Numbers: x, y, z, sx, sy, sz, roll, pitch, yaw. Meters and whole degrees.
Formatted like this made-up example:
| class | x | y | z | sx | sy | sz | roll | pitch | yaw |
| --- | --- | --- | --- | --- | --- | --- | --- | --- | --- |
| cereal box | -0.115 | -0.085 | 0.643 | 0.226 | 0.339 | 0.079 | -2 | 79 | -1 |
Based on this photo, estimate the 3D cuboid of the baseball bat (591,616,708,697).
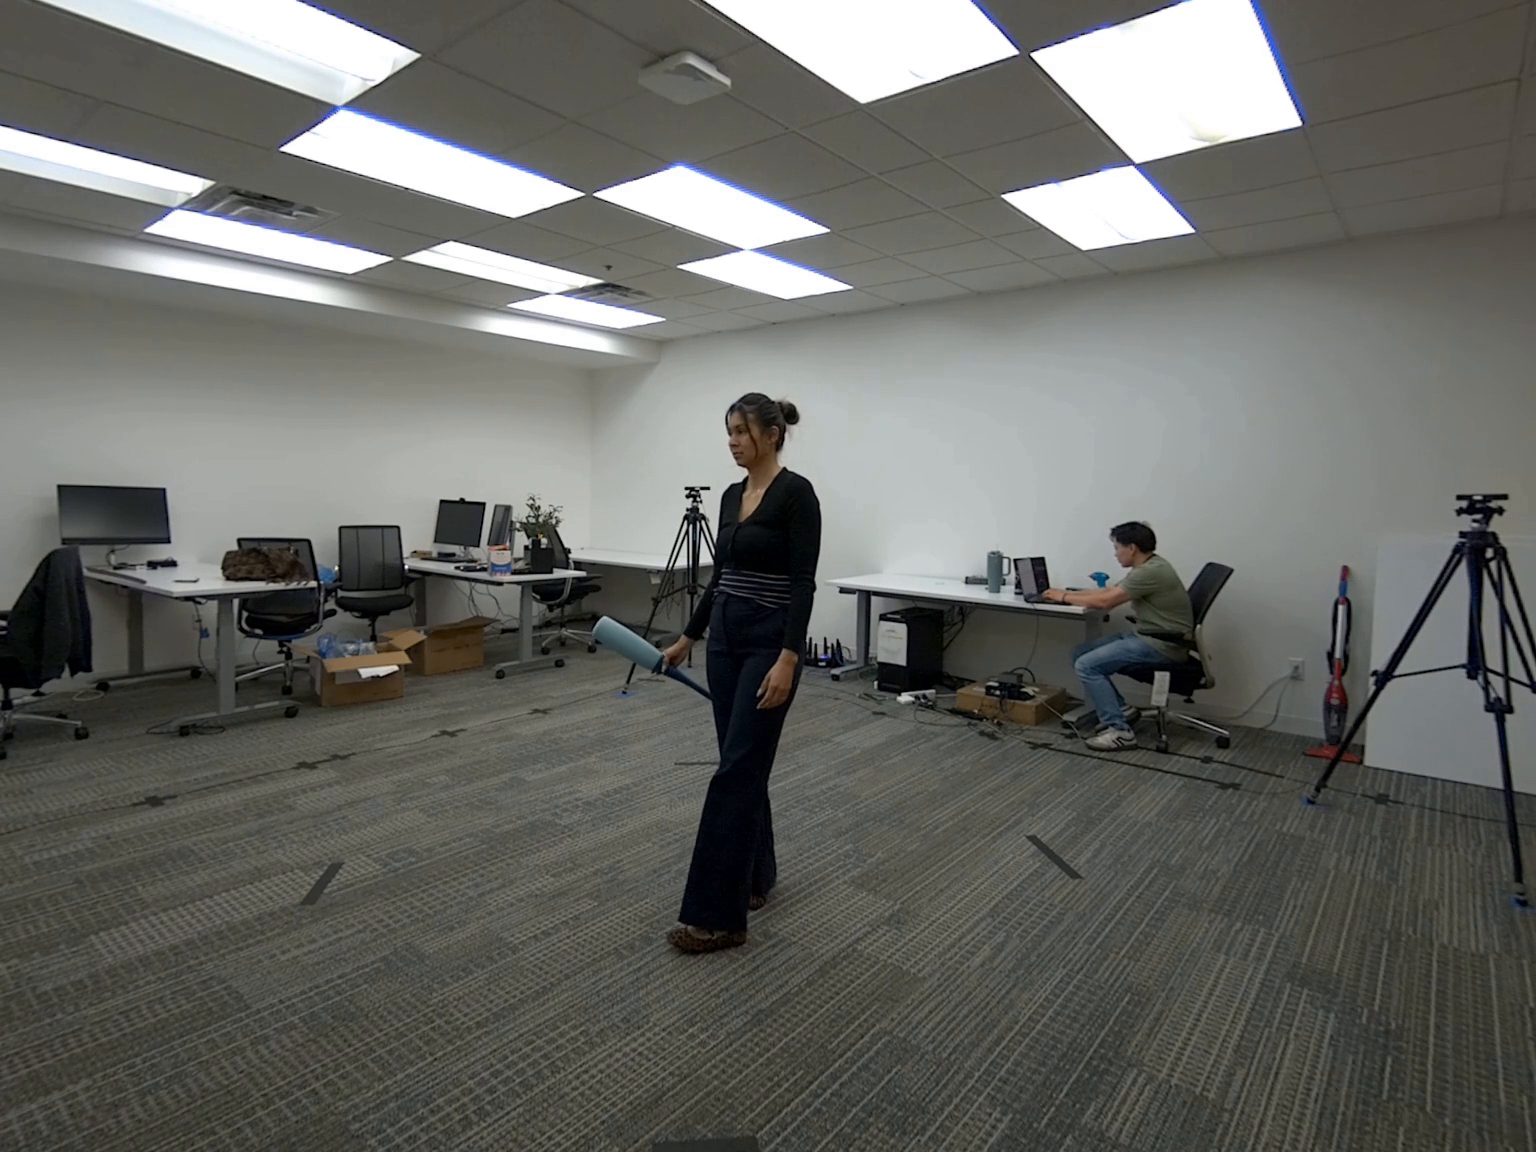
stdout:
| class | x | y | z | sx | sy | sz | roll | pitch | yaw |
| --- | --- | --- | --- | --- | --- | --- | --- | --- | --- |
| baseball bat | -0.393 | 0.301 | 2.994 | 0.543 | 0.089 | 0.089 | 32 | 3 | 0 |
